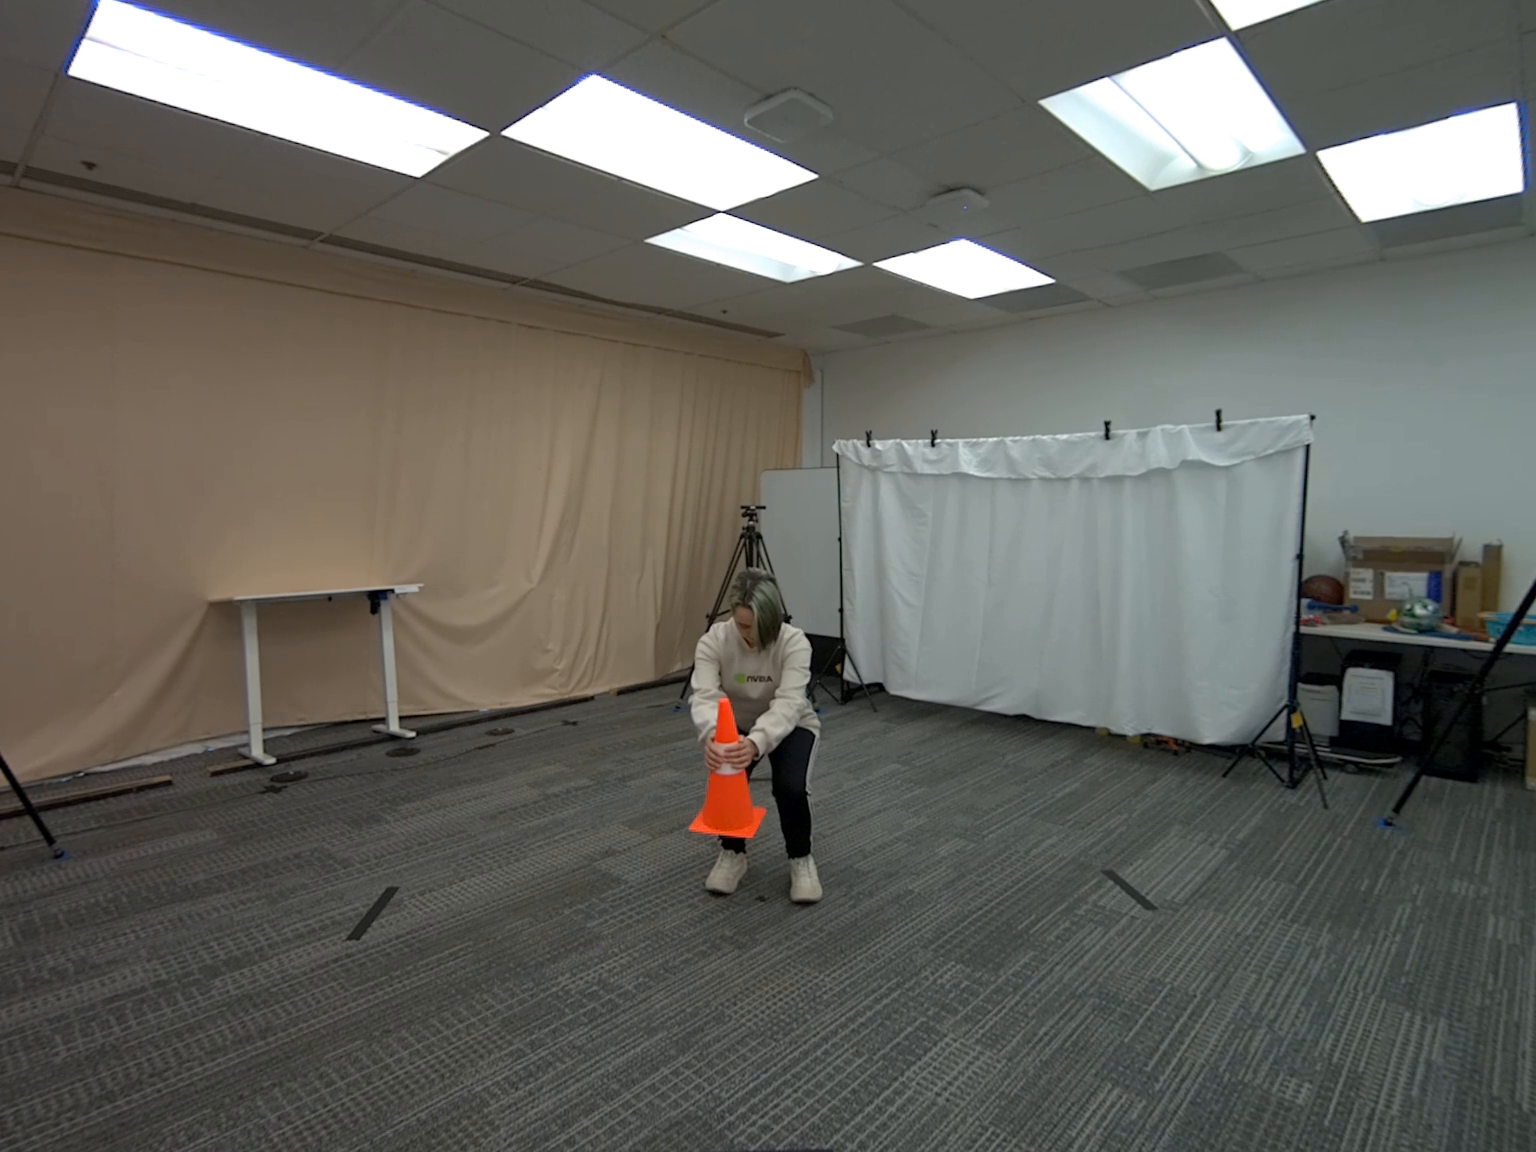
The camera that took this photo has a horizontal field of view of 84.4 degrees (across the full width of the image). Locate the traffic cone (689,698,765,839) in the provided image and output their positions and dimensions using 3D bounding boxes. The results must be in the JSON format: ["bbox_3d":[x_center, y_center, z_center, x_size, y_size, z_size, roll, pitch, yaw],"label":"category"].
[{"bbox_3d":[-0.122,0.550,2.532,0.209,0.382,0.201,0,8,16],"label":"traffic cone"}]
